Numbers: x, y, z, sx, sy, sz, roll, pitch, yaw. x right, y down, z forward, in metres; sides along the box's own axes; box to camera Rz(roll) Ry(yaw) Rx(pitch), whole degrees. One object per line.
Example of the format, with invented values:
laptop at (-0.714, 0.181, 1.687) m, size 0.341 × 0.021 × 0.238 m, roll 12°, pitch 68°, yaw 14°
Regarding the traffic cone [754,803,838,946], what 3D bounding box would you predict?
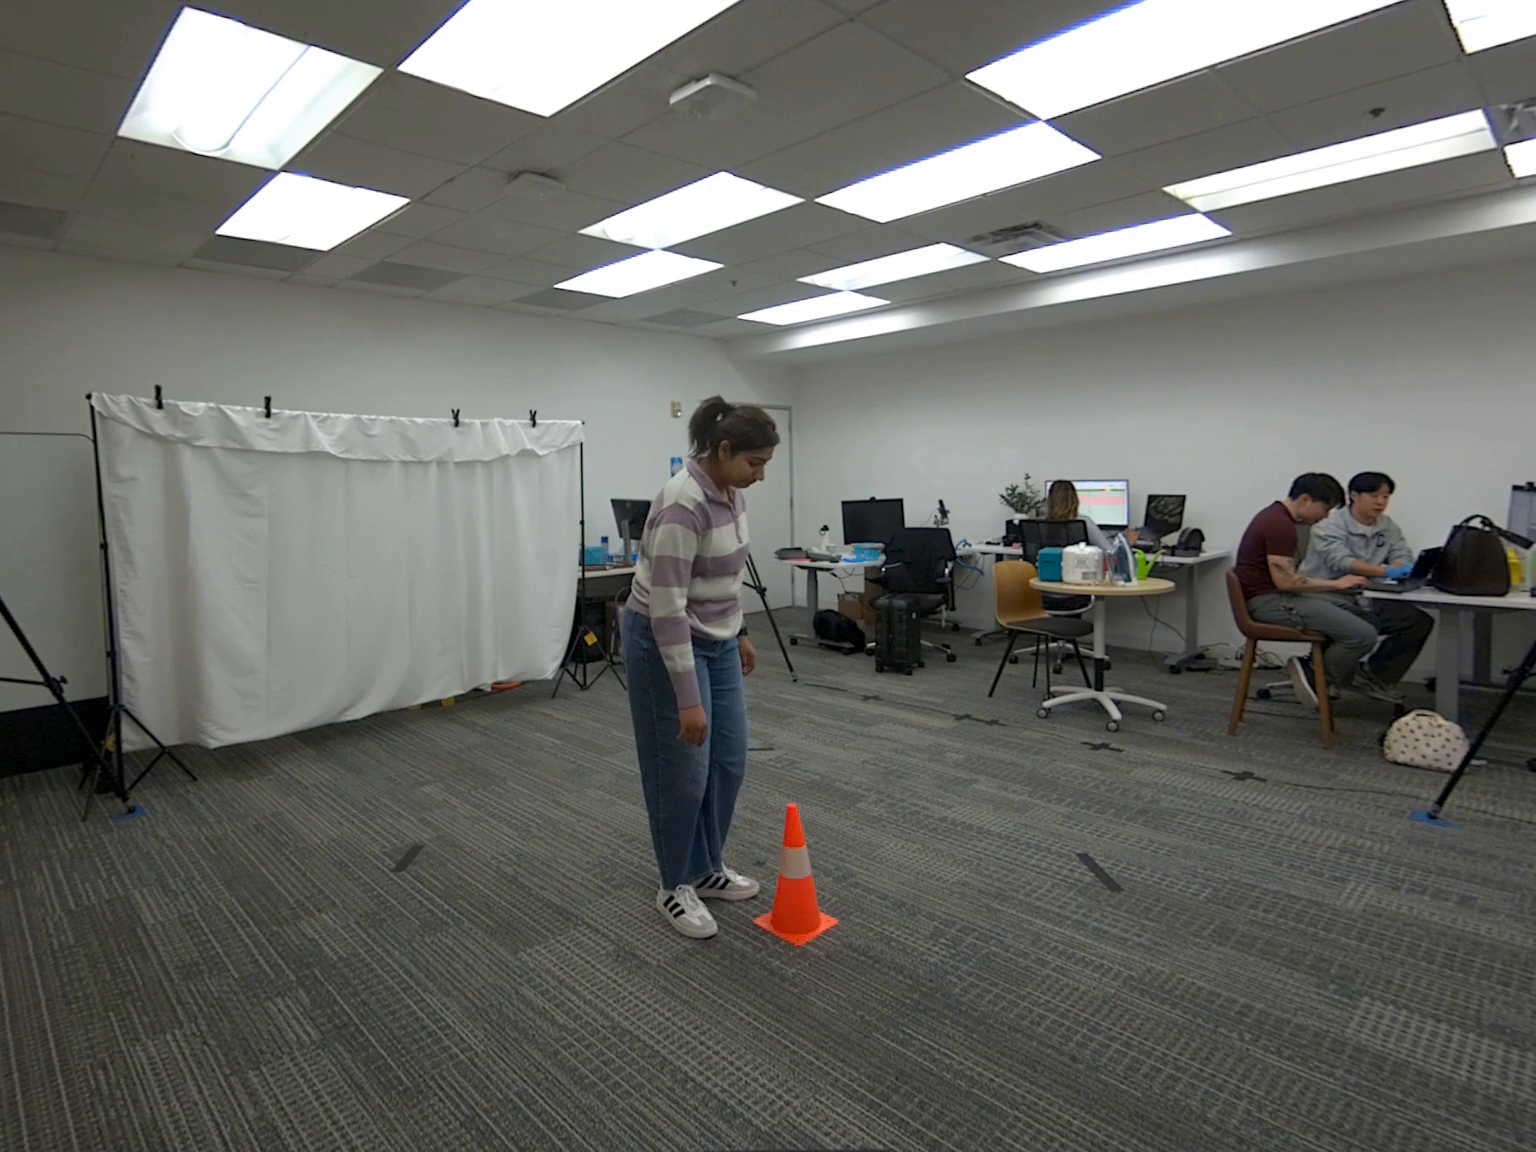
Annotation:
traffic cone at (0.082, 0.900, 2.686) m, size 0.211 × 0.382 × 0.198 m, roll 2°, pitch 5°, yaw 45°
